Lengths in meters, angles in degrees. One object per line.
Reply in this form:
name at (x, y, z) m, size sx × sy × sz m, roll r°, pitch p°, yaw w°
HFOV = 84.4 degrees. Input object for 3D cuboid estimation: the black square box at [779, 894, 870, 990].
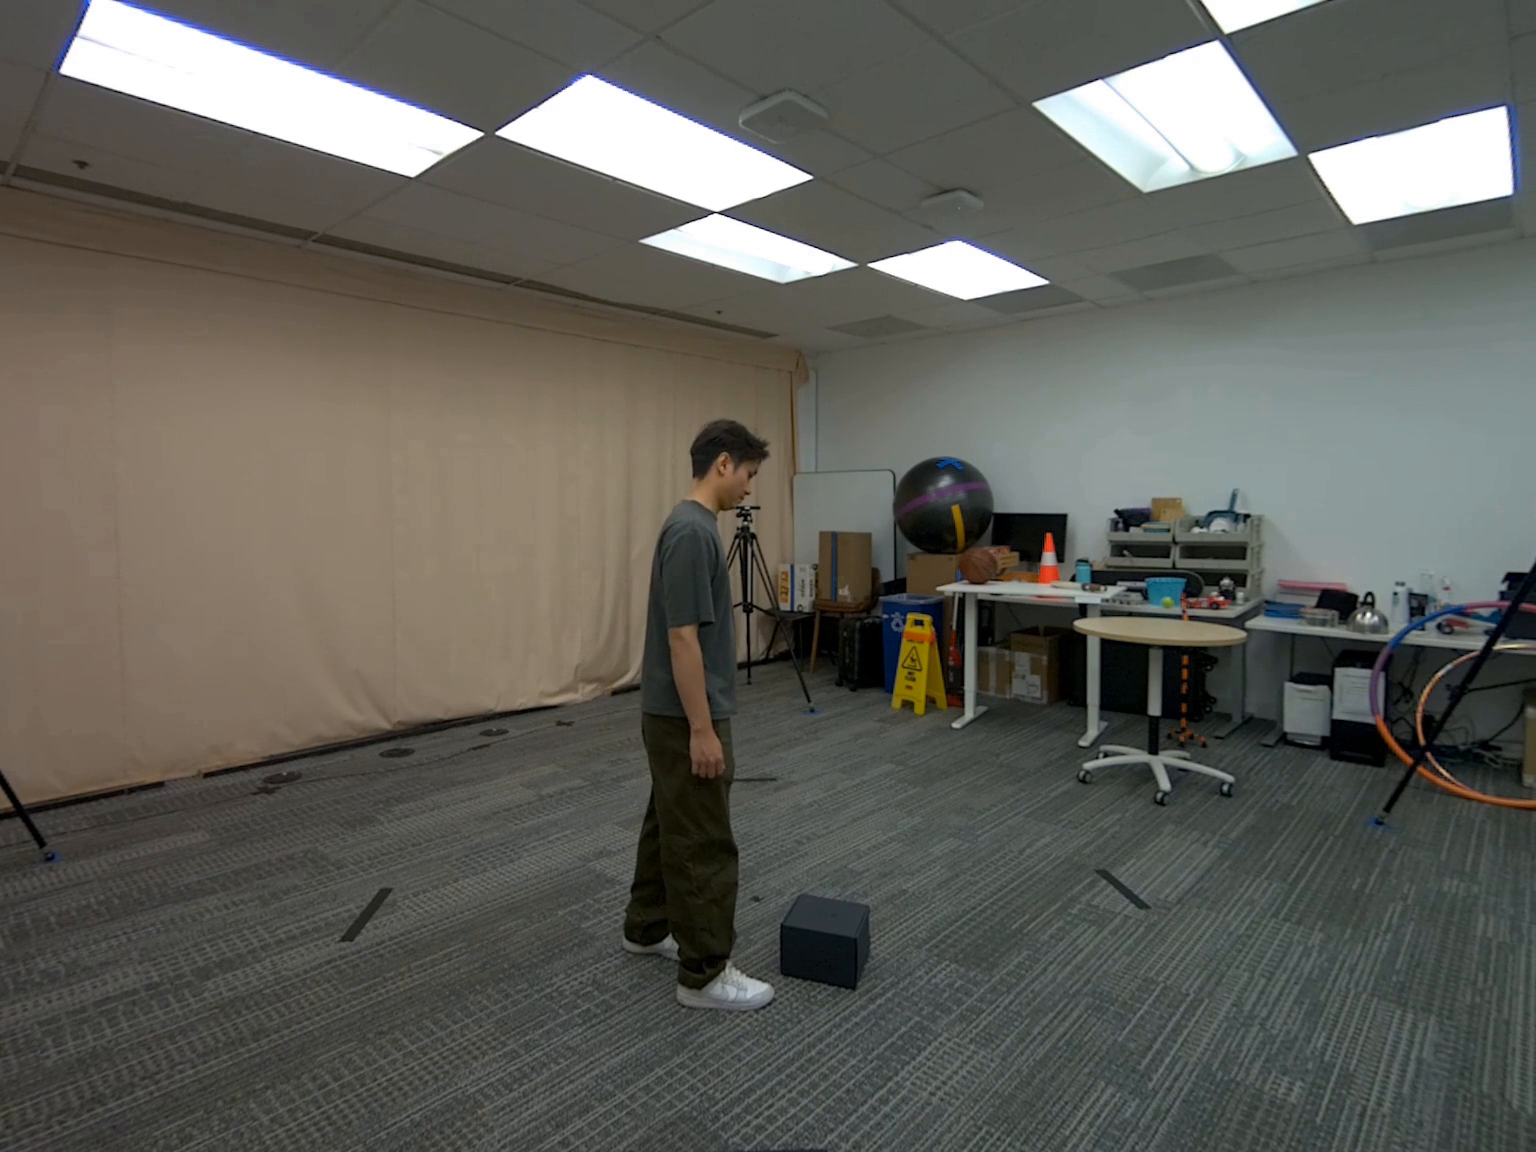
black square box at (0.183, 1.098, 2.546) m, size 0.233 × 0.155 × 0.213 m, roll 1°, pitch 4°, yaw 19°
